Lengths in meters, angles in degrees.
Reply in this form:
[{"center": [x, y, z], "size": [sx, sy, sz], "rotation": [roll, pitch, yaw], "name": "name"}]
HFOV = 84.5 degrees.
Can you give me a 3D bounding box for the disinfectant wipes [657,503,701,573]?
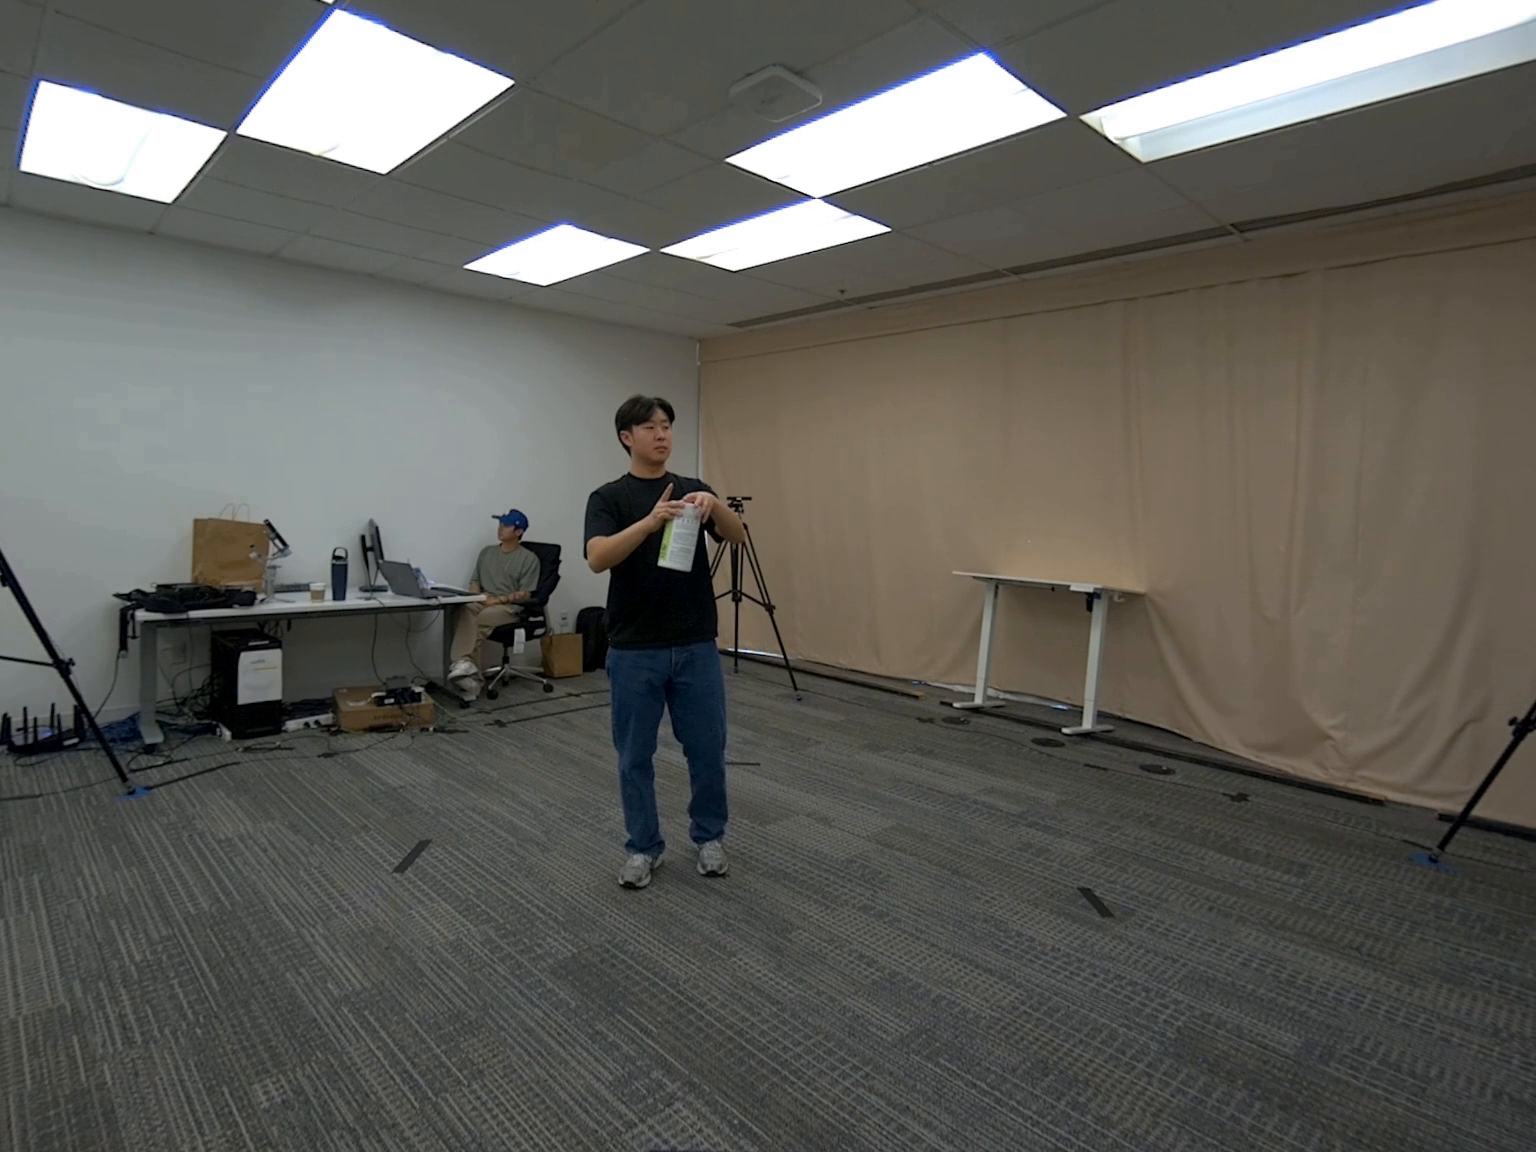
[{"center": [-0.287, -0.128, 2.712], "size": [0.118, 0.217, 0.118], "rotation": [10, 0, -1], "name": "disinfectant wipes"}]
